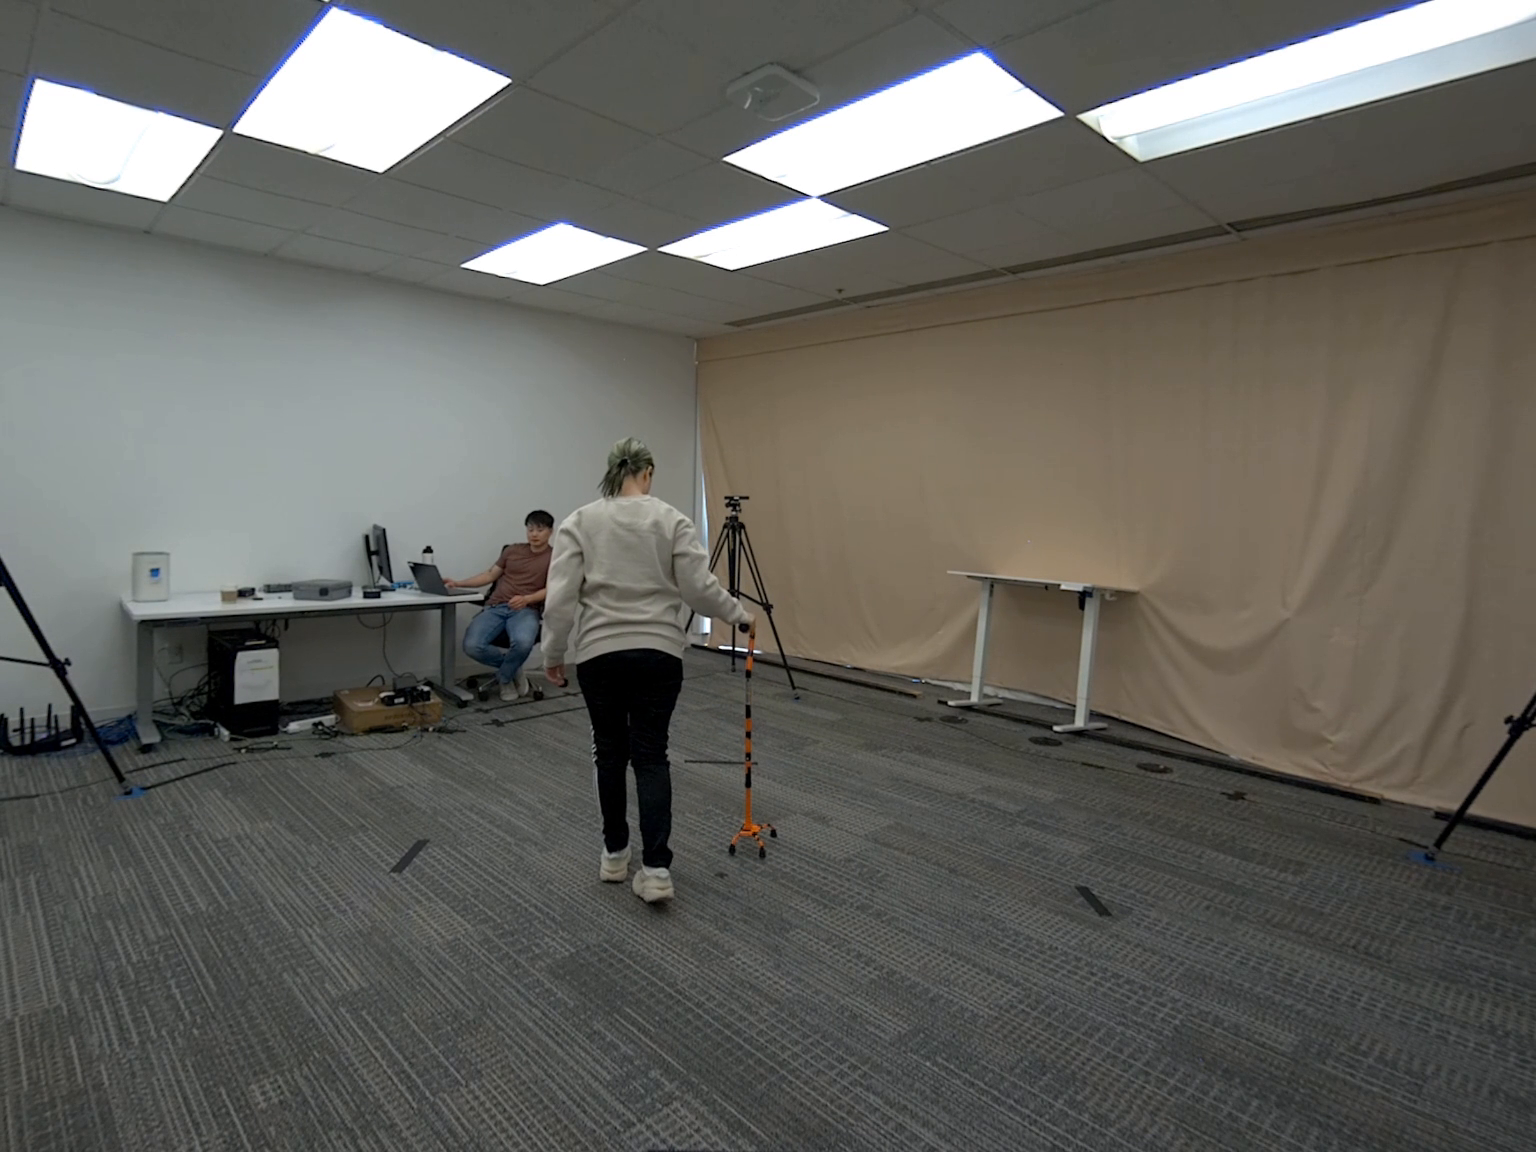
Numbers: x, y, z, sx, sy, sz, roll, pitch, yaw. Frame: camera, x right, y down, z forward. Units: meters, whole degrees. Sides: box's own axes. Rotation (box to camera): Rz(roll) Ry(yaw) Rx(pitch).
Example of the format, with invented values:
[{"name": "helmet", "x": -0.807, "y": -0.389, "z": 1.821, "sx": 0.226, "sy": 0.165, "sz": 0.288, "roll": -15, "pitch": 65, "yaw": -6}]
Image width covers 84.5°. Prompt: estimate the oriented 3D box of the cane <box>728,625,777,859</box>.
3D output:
[{"name": "cane", "x": -0.070, "y": 0.621, "z": 3.291, "sx": 0.153, "sy": 0.904, "sz": 0.205, "roll": 1, "pitch": 6, "yaw": 13}]
